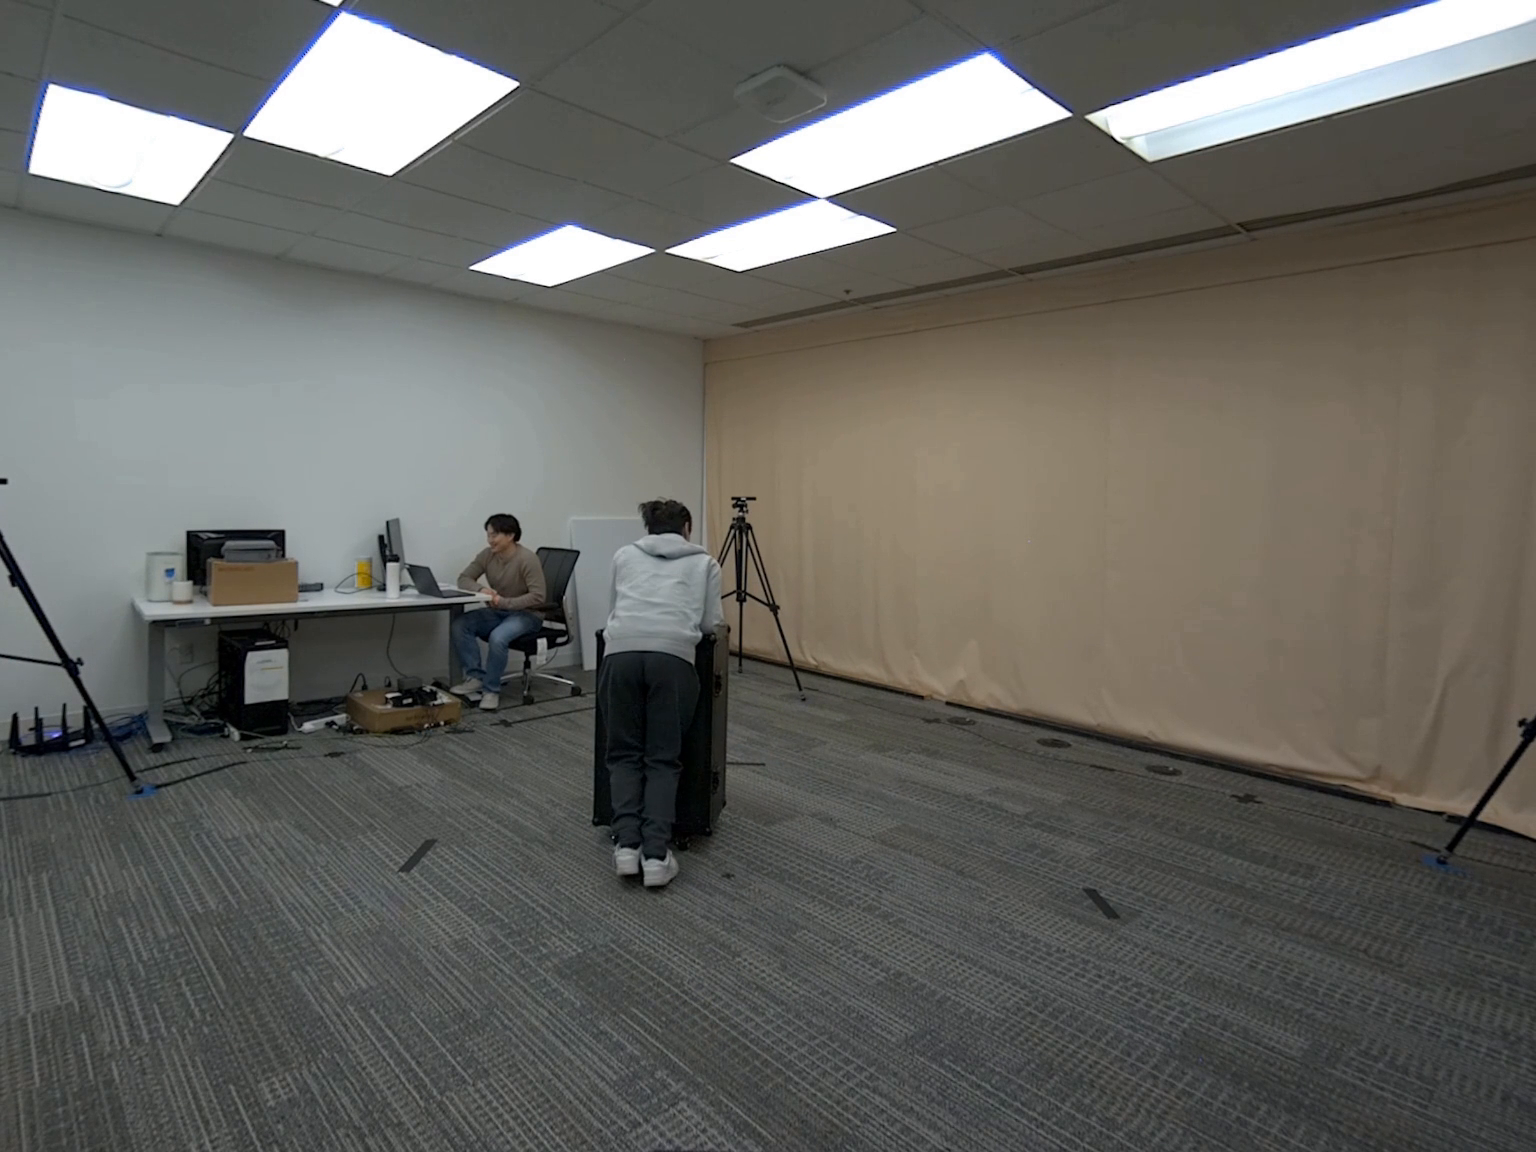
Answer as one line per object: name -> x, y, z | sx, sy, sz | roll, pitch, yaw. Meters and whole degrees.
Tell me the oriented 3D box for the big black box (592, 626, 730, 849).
big black box -> -0.443, 0.645, 3.503 | 0.525, 0.860, 0.394 | 2, 3, 9
